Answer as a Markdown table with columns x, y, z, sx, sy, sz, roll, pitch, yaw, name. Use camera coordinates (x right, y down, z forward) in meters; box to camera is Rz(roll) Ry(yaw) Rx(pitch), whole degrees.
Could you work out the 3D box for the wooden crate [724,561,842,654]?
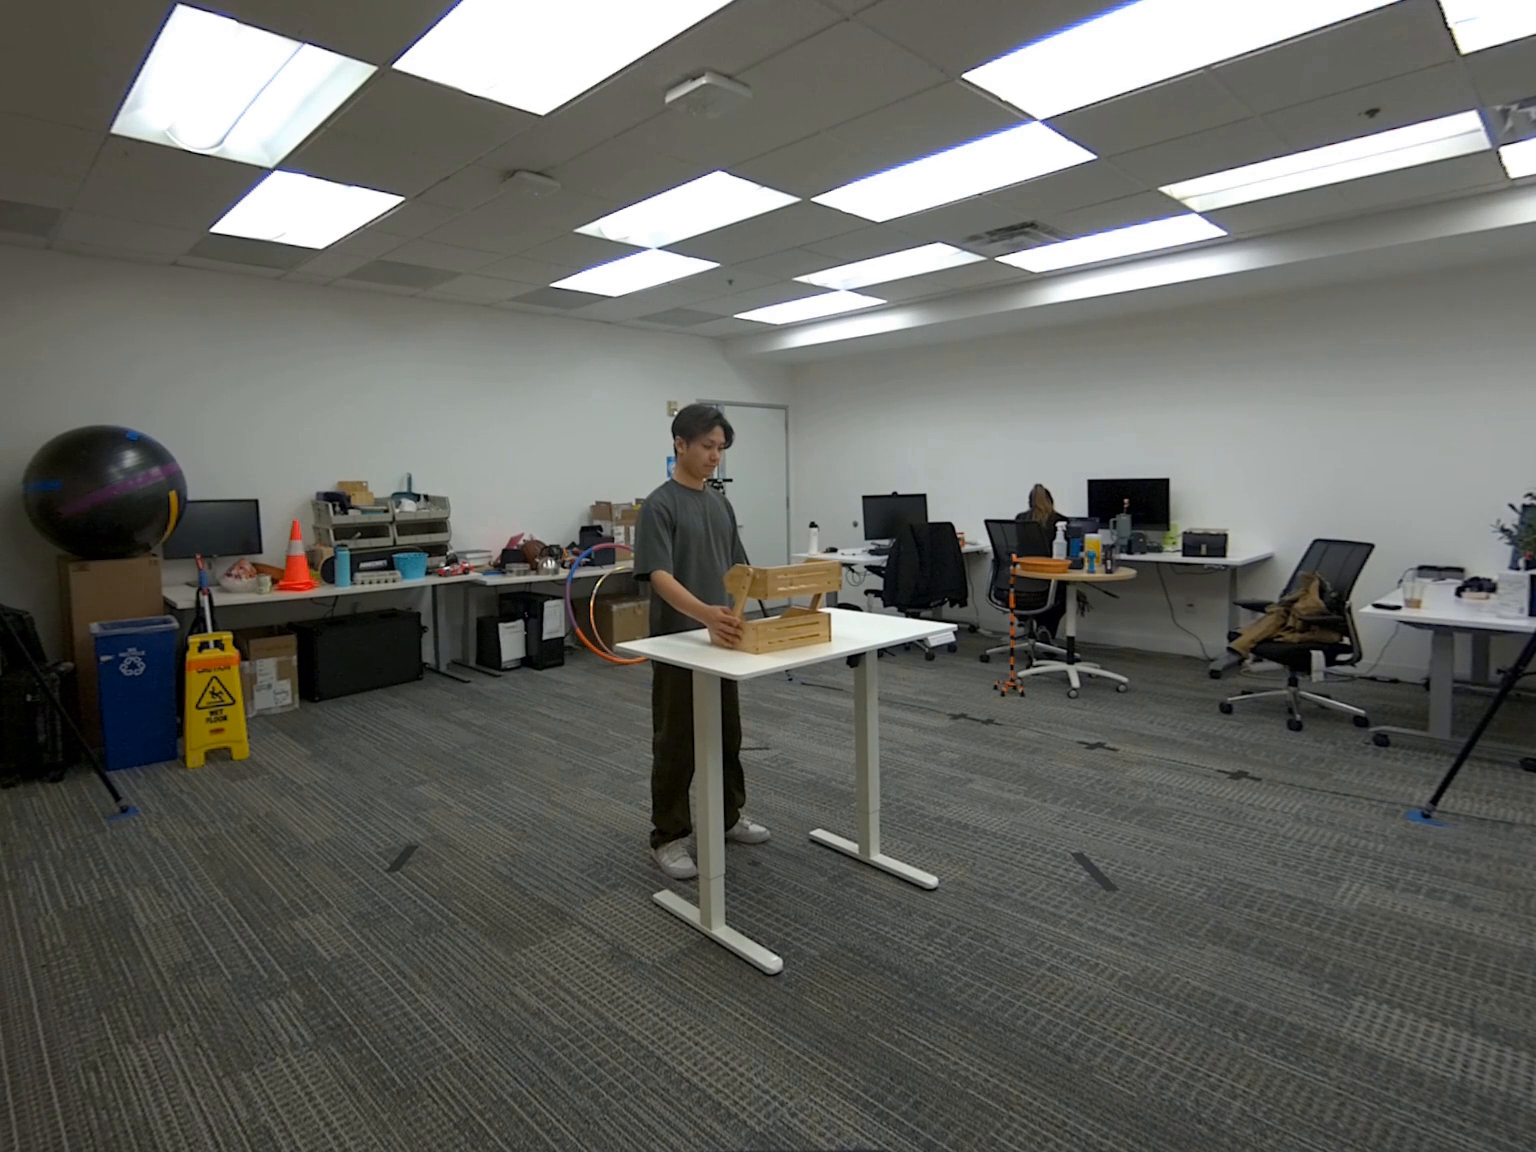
| x | y | z | sx | sy | sz | roll | pitch | yaw | name |
| --- | --- | --- | --- | --- | --- | --- | --- | --- | --- |
| 0.024 | 0.080 | 2.666 | 0.316 | 0.272 | 0.311 | -6 | 7 | -37 | wooden crate |
